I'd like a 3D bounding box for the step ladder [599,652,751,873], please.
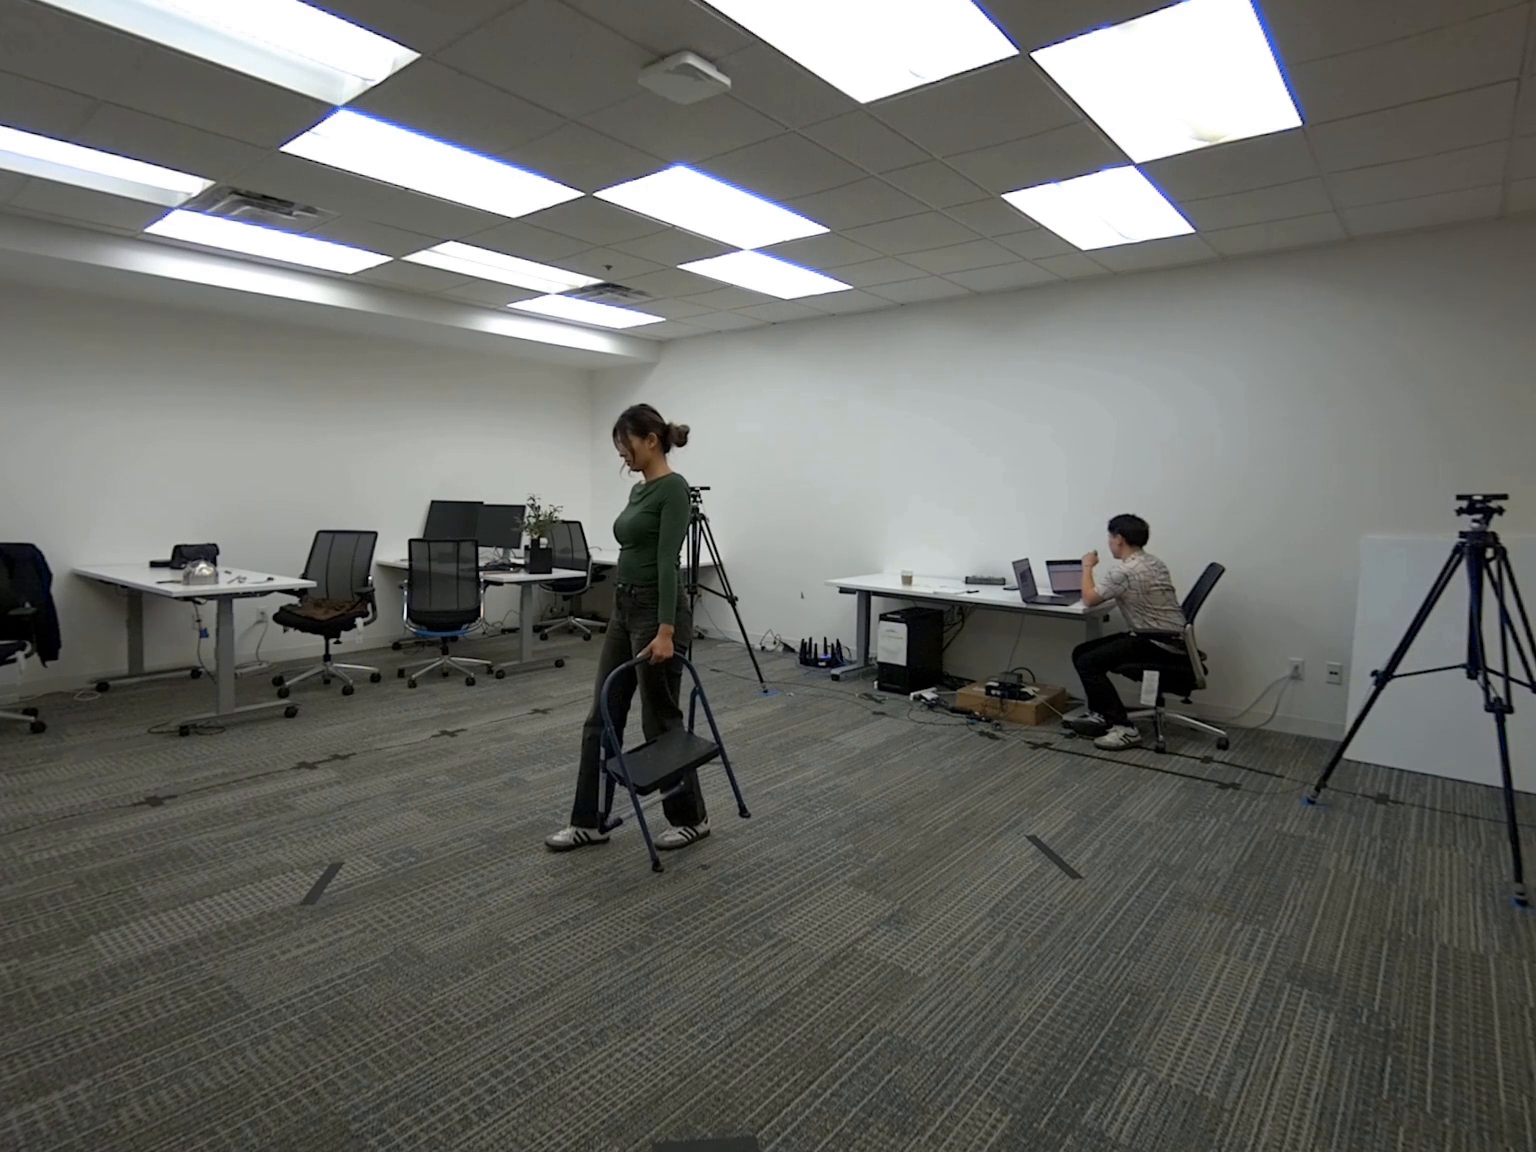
[{"bbox_3d":[-0.363,0.576,2.906,0.362,0.598,0.421,7,18,44],"label":"step ladder"}]
